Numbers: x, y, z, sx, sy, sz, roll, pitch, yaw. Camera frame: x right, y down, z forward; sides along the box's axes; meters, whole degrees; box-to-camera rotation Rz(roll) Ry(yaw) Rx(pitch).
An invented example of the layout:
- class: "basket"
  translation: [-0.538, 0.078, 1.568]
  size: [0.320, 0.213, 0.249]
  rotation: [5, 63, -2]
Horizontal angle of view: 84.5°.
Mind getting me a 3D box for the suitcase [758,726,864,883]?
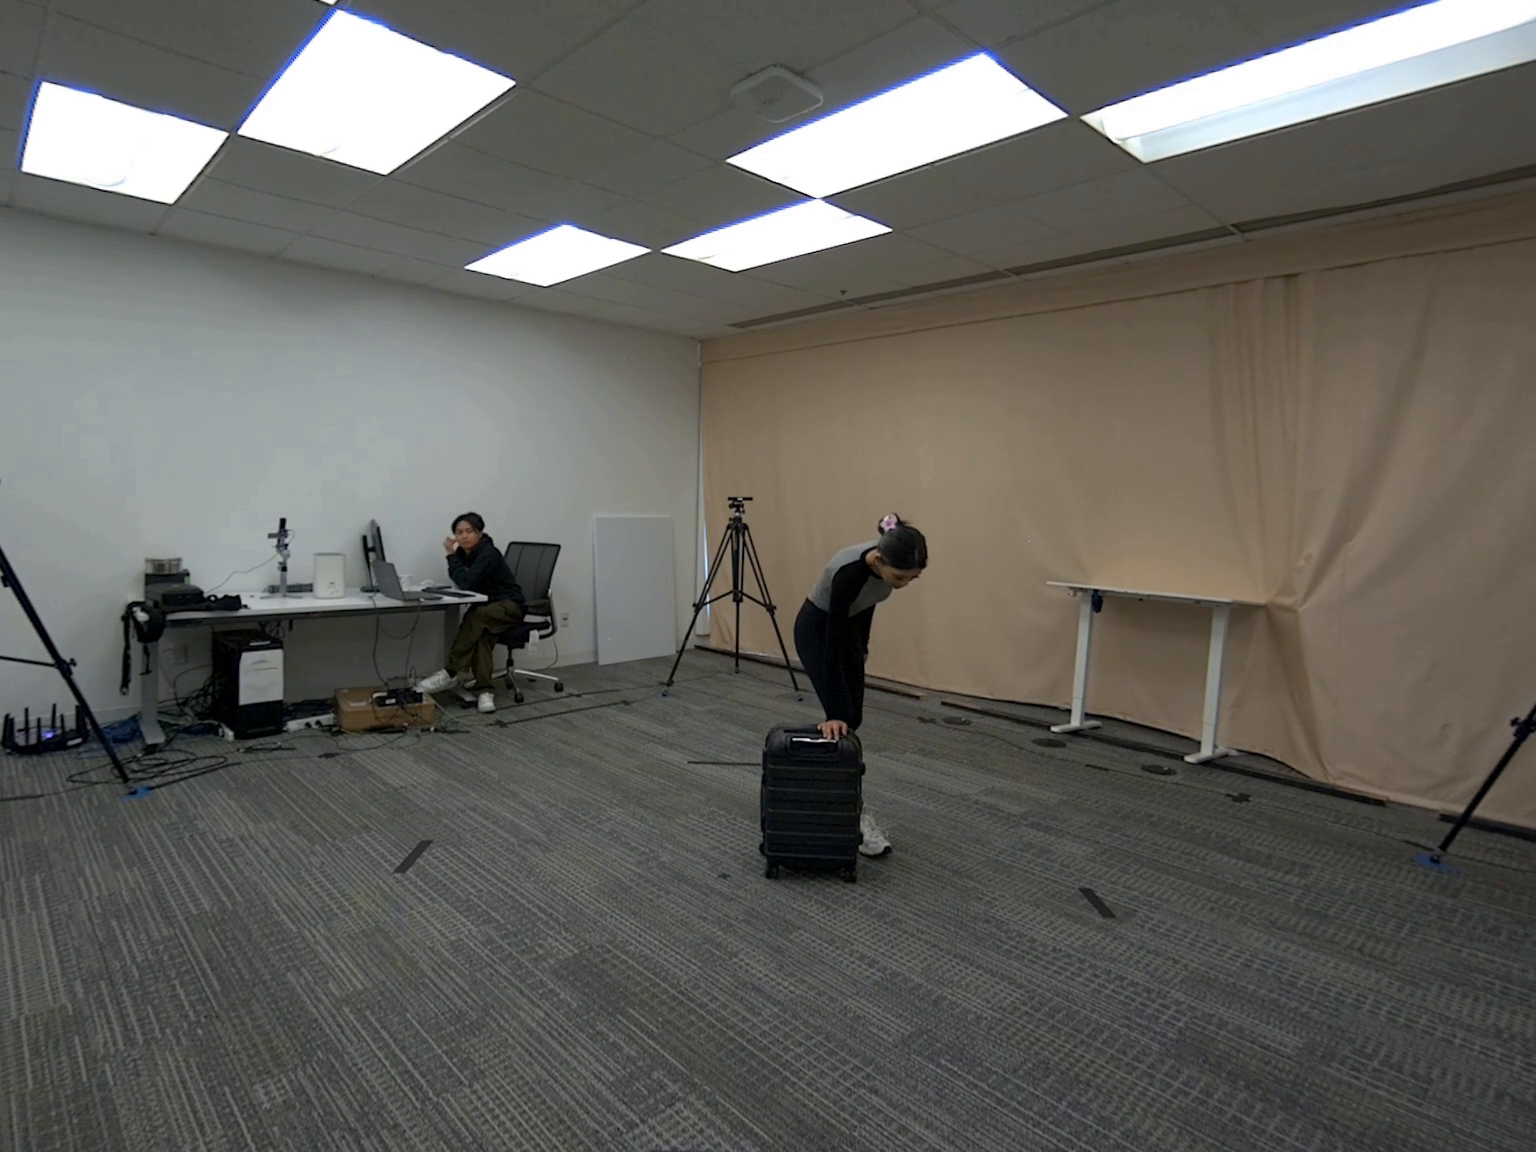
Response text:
- class: "suitcase"
  translation: [0.155, 0.836, 3.157]
  size: [0.376, 0.548, 0.248]
  rotation: [2, 4, 3]
